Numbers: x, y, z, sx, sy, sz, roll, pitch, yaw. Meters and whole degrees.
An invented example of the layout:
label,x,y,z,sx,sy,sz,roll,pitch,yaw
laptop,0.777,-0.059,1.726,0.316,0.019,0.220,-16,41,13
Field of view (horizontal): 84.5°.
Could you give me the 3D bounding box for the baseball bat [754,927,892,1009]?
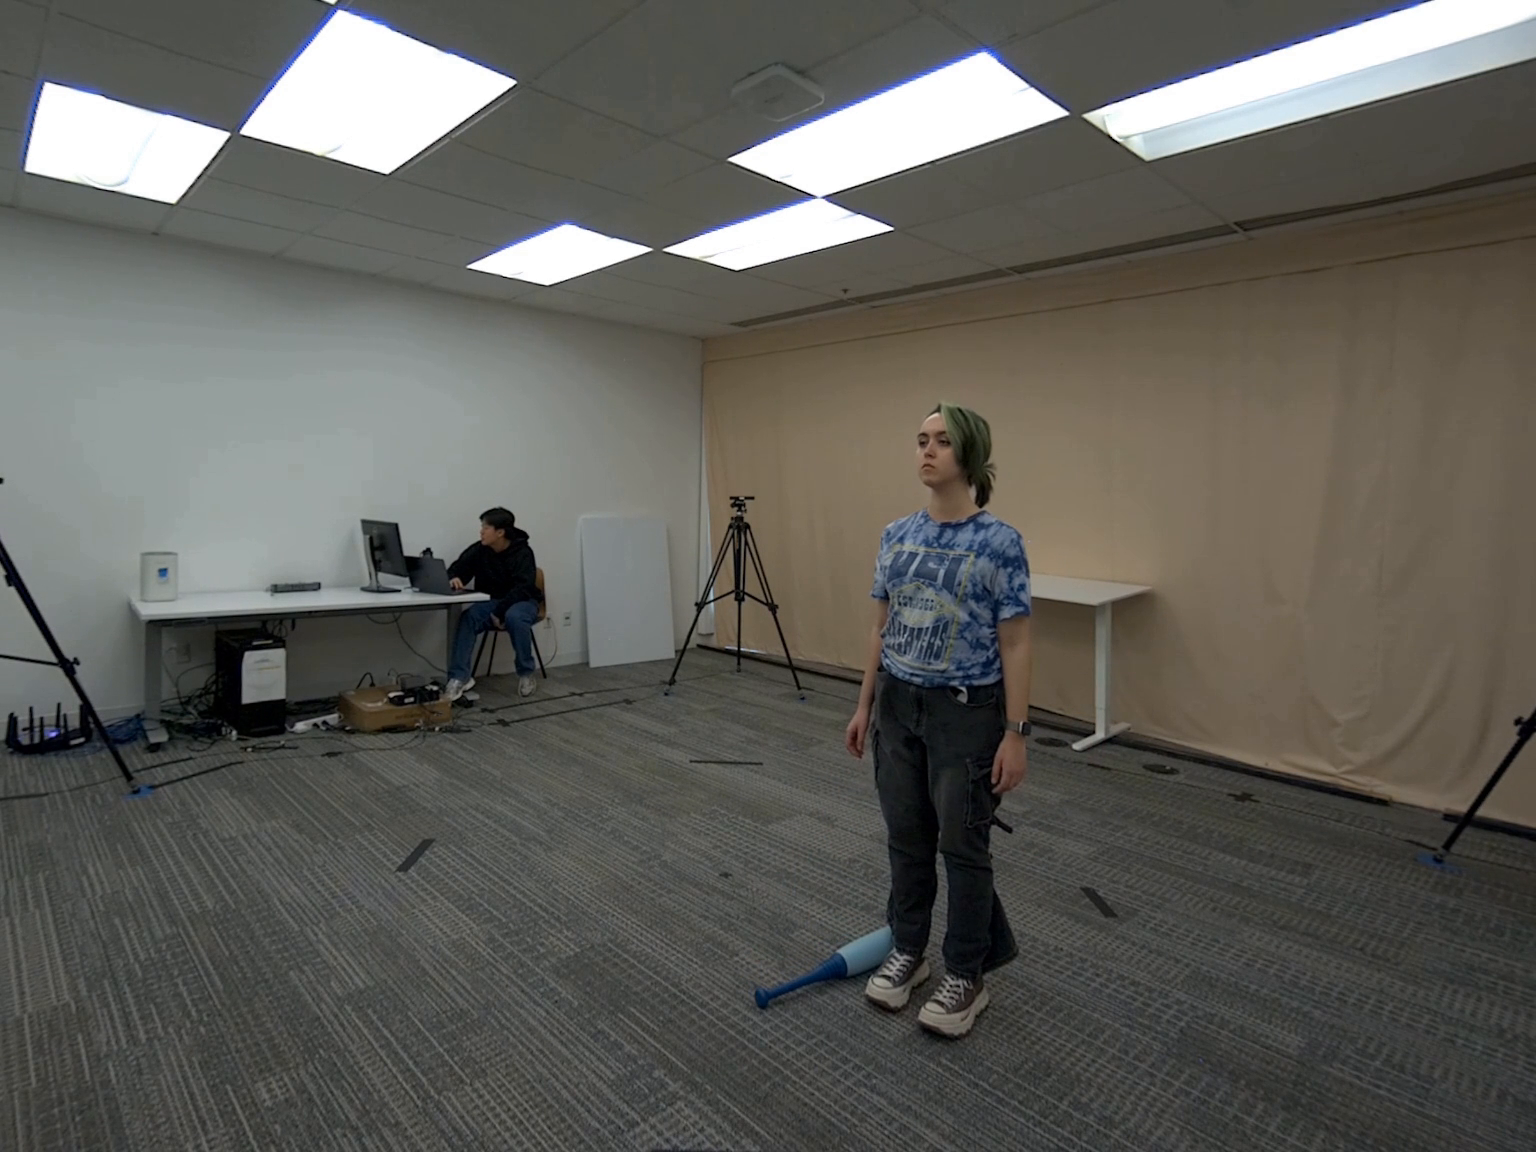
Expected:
label,x,y,z,sx,sy,sz,roll,pitch,yaw
baseball bat,0.193,1.140,2.439,0.532,0.088,0.091,-6,8,-35
